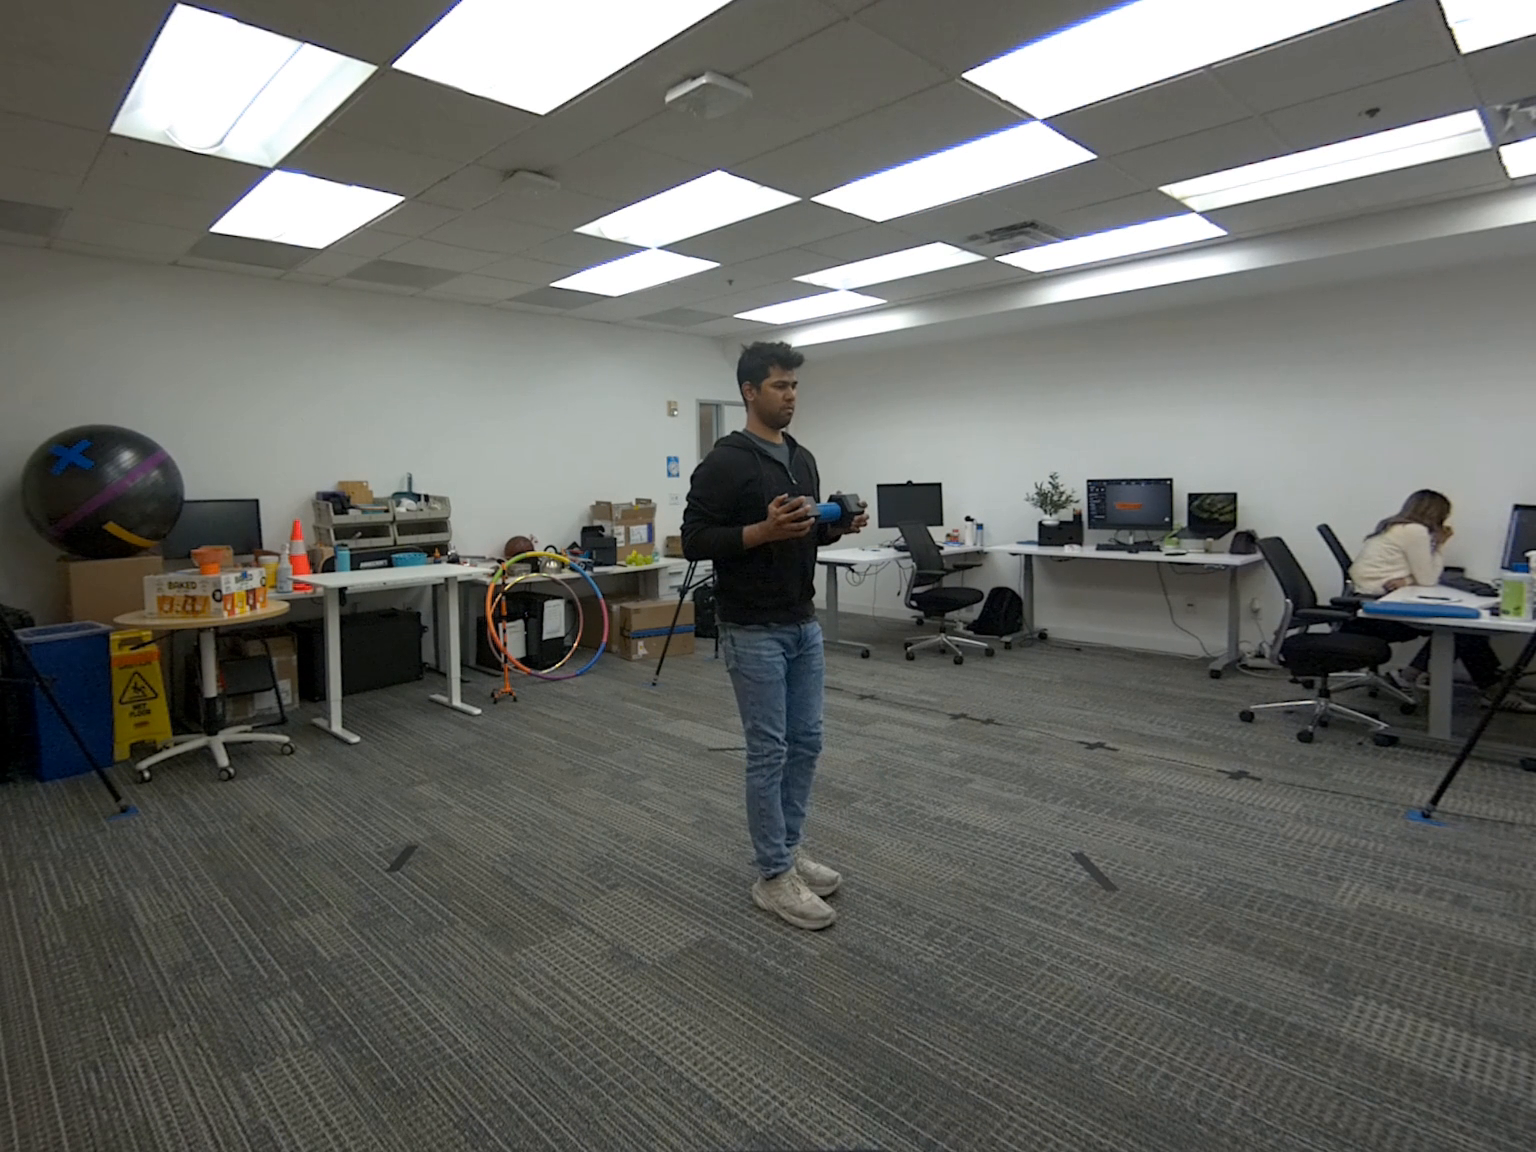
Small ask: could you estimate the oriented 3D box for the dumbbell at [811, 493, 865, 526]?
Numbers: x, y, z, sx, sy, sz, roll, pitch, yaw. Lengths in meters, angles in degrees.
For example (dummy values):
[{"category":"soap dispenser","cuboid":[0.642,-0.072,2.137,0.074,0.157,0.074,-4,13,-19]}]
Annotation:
[{"category":"dumbbell","cuboid":[0.154,-0.191,2.665,0.286,0.121,0.113,-8,39,-40]}]
